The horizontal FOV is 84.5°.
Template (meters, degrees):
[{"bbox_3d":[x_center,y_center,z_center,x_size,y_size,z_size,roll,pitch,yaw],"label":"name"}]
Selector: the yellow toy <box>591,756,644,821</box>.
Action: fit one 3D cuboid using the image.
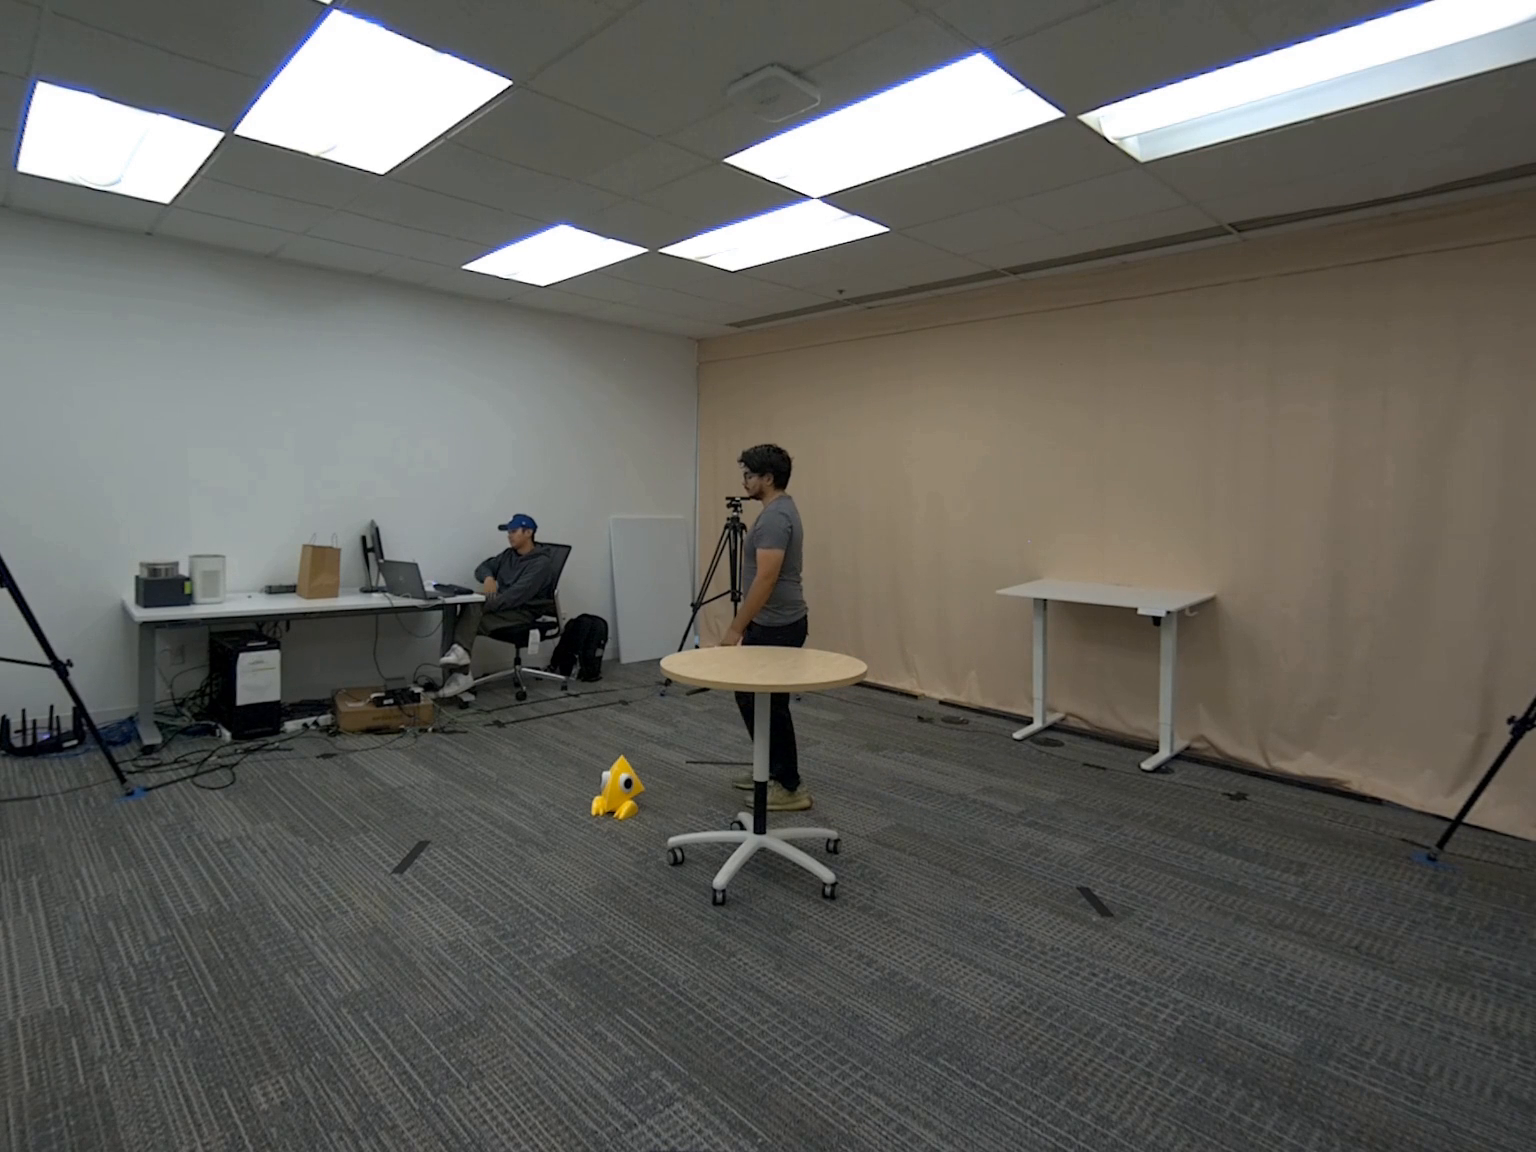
[{"bbox_3d":[-0.685,0.927,3.729,0.207,0.230,0.191,3,2,16],"label":"yellow toy"}]
